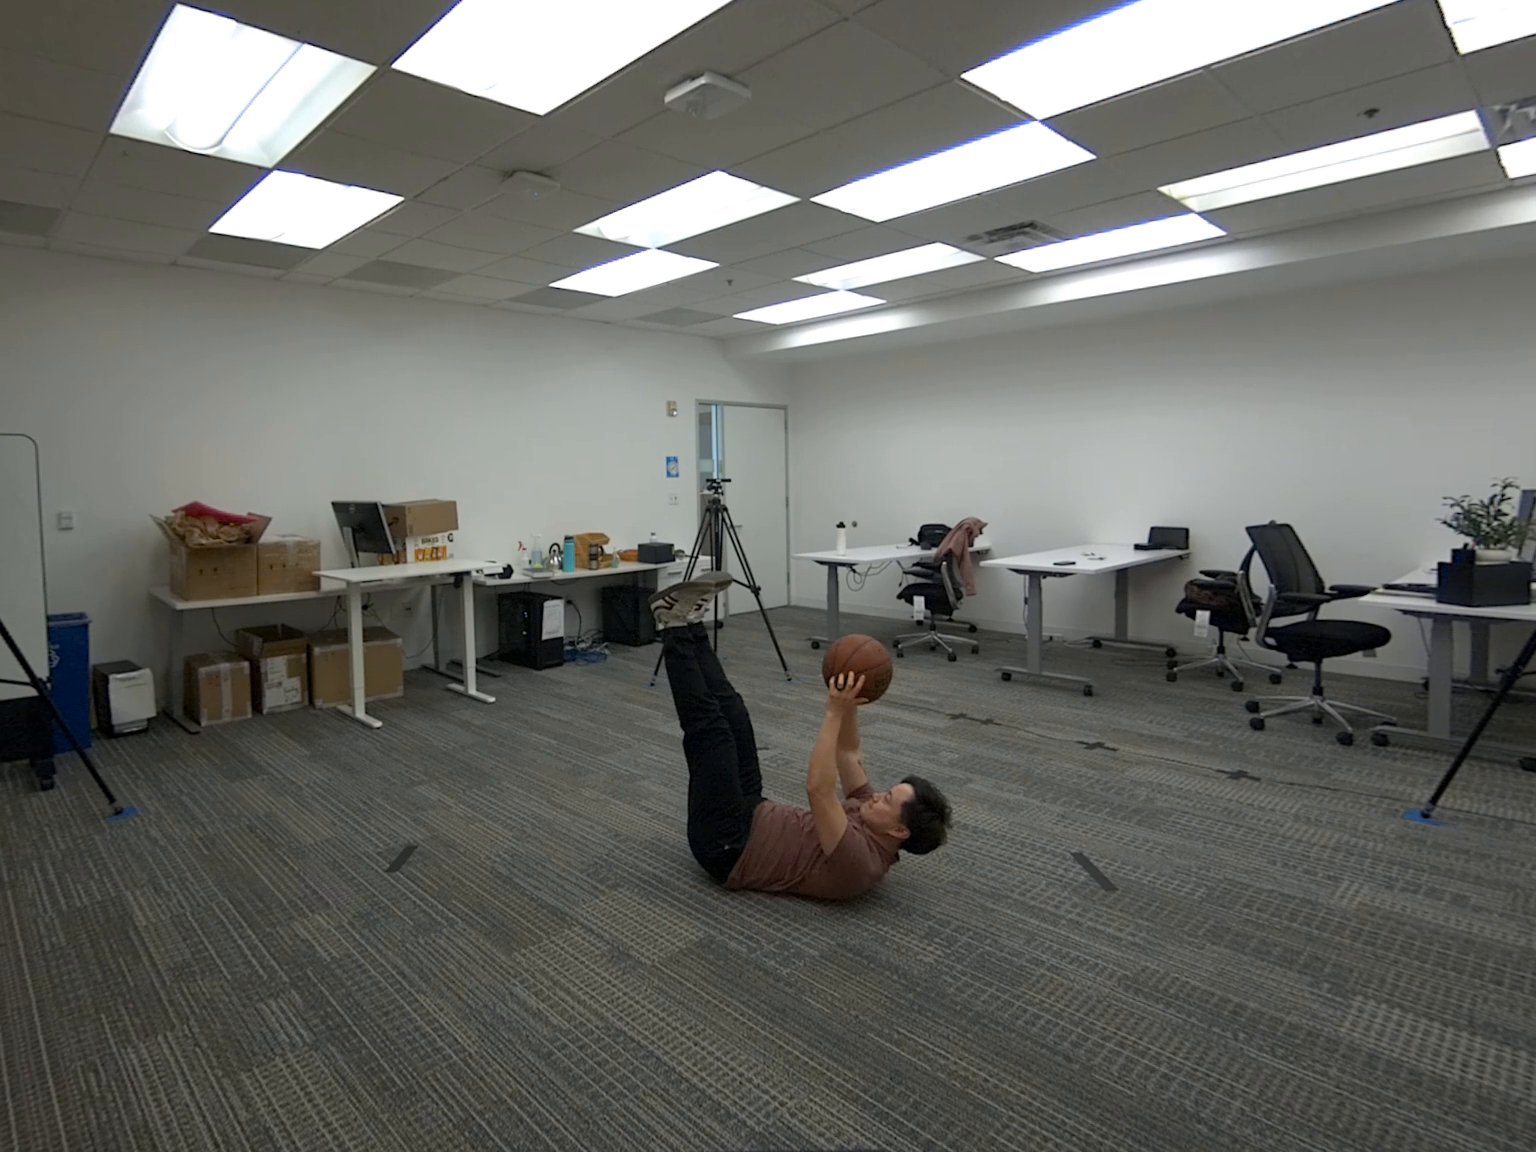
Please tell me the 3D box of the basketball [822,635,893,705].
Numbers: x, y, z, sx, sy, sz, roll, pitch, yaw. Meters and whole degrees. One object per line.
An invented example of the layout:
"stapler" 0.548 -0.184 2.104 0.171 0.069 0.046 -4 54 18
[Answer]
"basketball" 0.306 0.319 2.872 0.236 0.236 0.236 0 1 -2
